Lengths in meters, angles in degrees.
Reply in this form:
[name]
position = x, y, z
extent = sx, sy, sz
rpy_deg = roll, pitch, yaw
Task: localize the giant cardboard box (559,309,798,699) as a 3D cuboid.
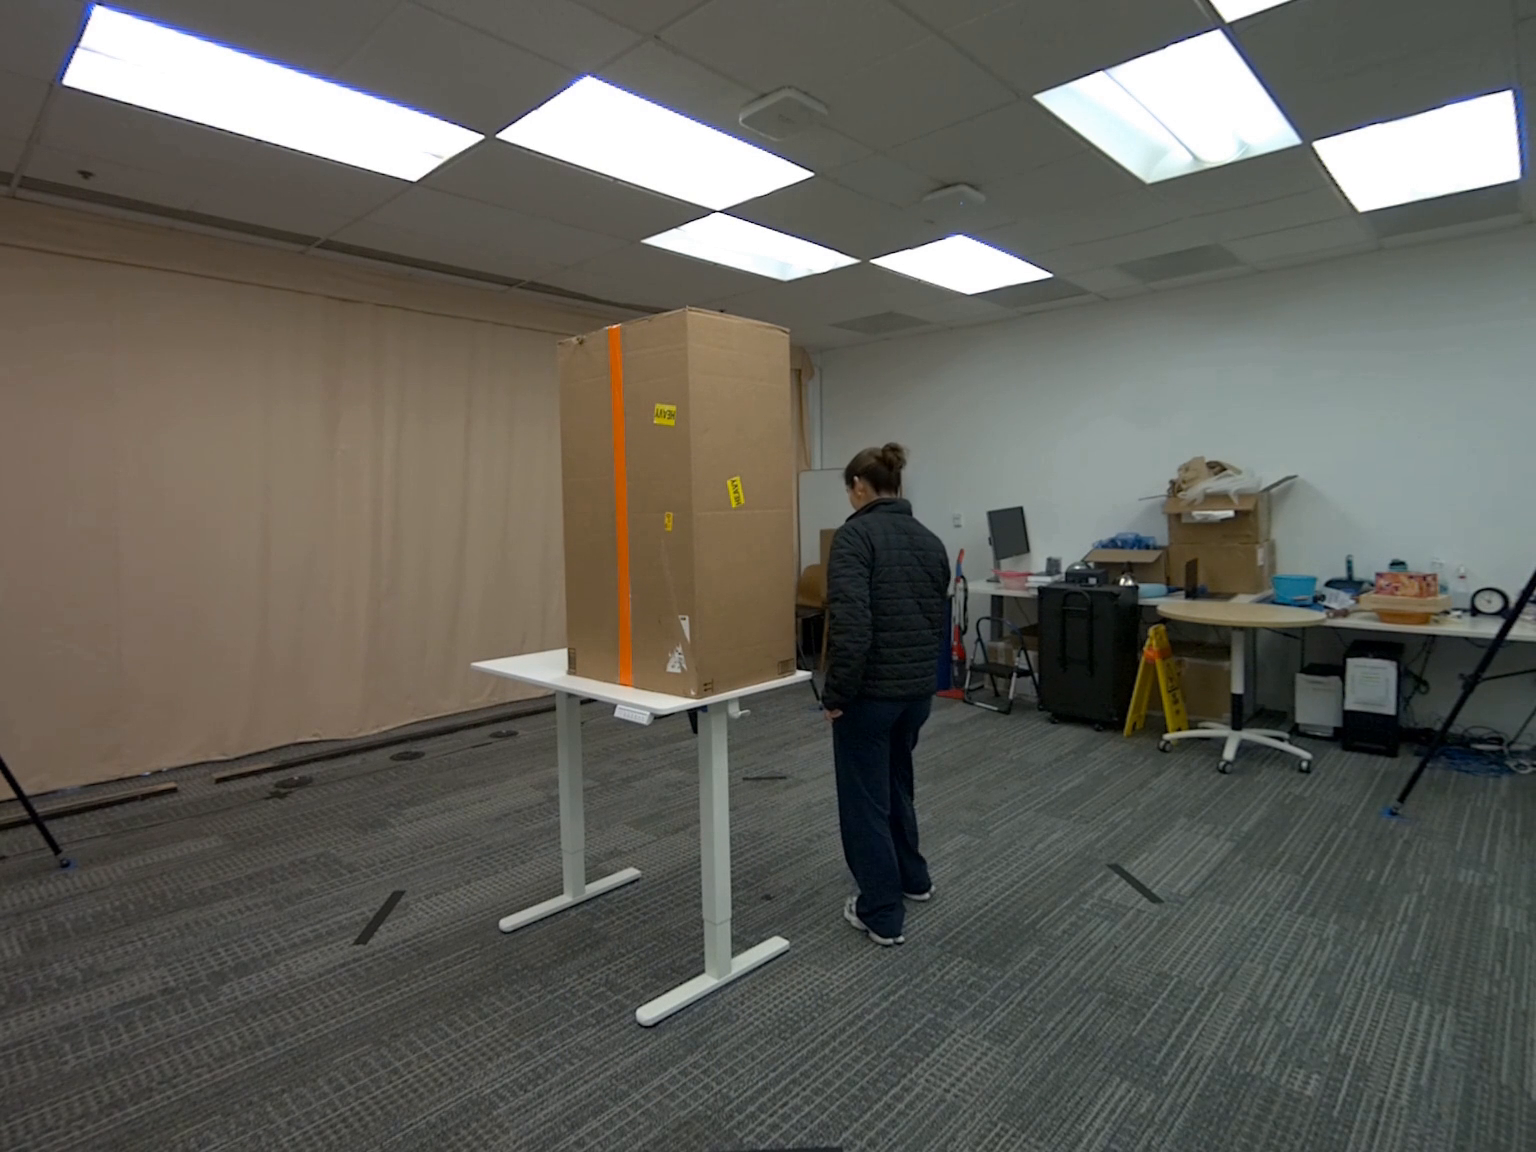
[giant cardboard box]
position = -0.263, -0.206, 2.531
extent = 0.596, 1.024, 0.413
rpy_deg = 1, 4, 42
